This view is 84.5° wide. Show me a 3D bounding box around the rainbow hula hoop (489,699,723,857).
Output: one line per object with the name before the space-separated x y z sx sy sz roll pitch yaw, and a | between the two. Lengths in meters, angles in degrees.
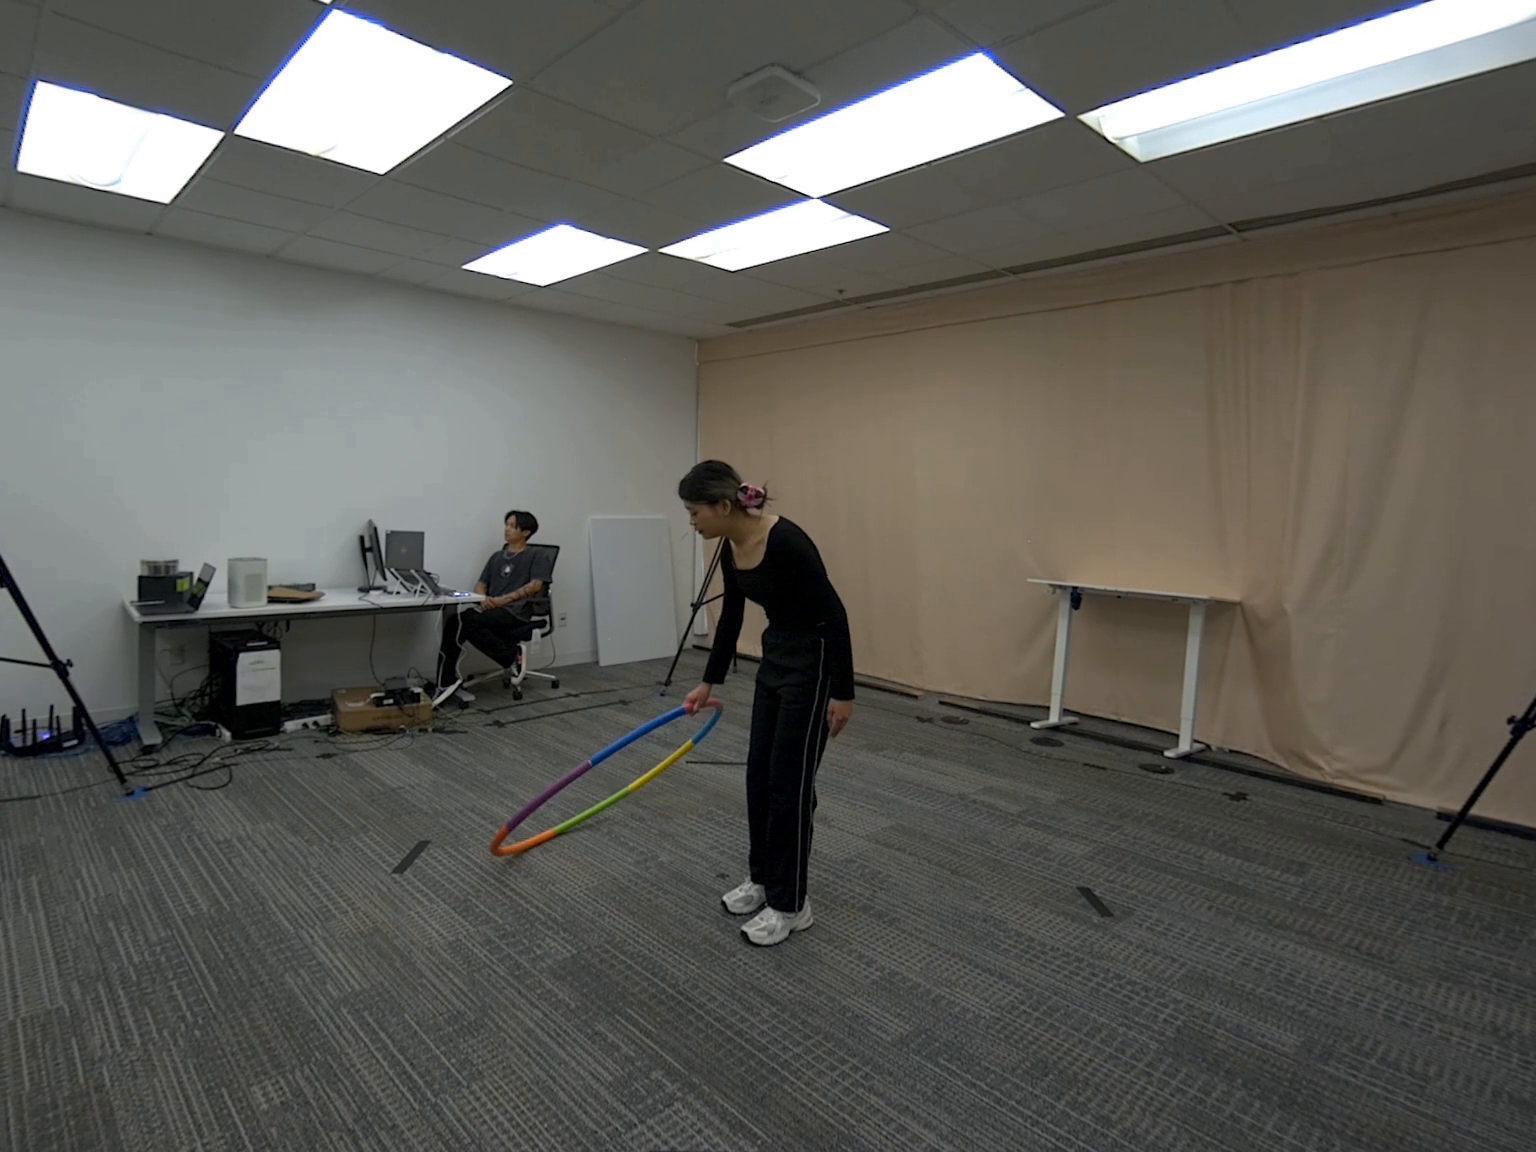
rainbow hula hoop | -0.590 0.754 3.159 0.975 0.036 0.965 -31 -16 -12
